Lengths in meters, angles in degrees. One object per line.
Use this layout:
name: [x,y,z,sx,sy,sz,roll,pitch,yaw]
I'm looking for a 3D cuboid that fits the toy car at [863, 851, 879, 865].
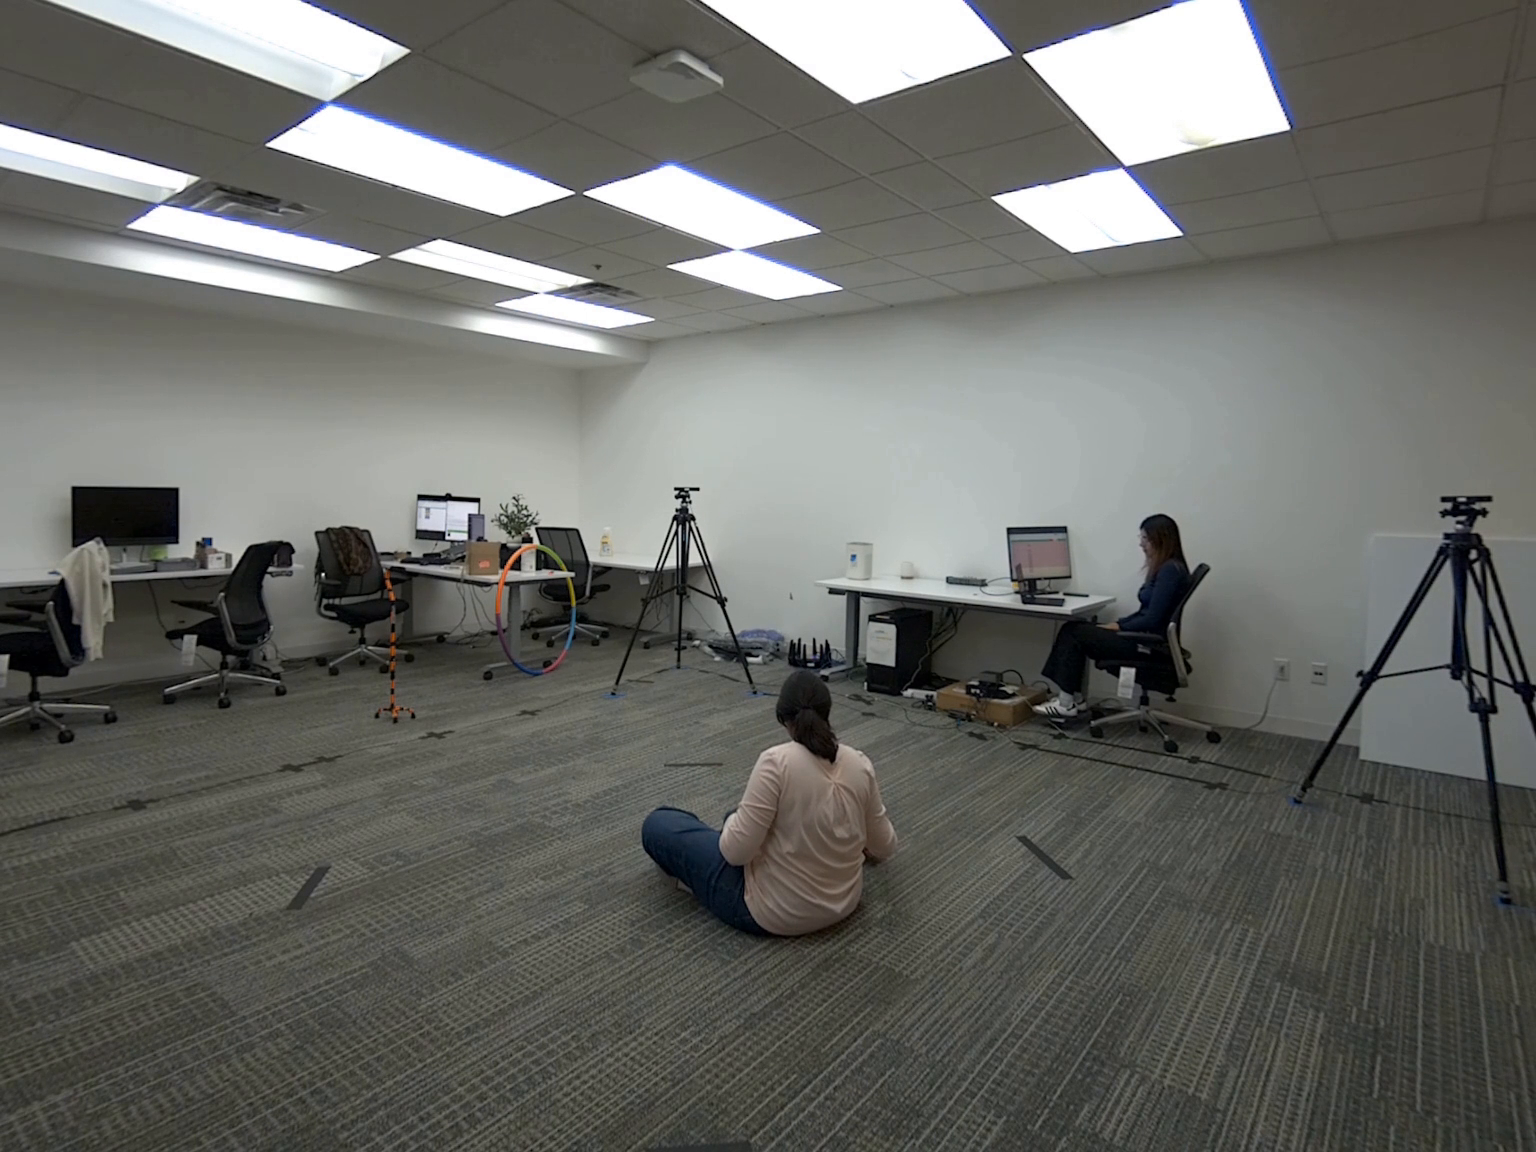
toy car: [0.285,1.019,3.279,0.264,0.083,0.126,12,9,40]
